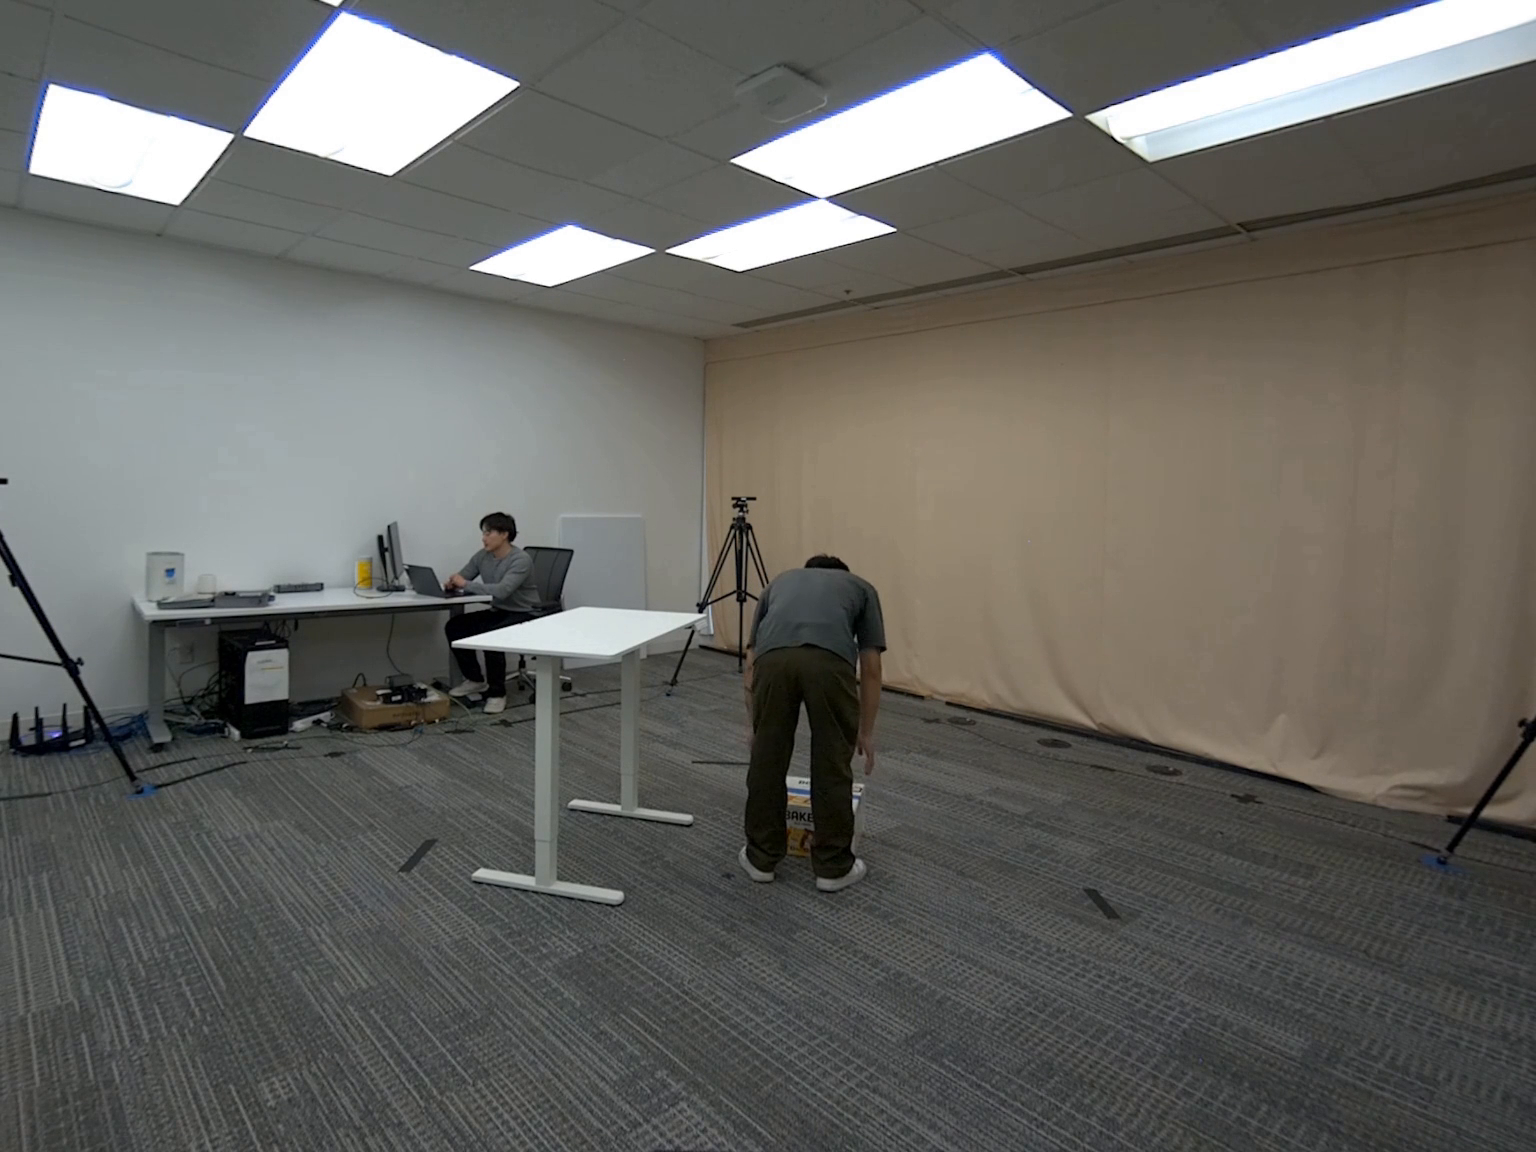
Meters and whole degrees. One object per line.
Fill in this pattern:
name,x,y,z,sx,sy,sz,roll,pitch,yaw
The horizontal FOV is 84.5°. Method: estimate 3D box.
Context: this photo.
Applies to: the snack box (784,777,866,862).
snack box,0.168,0.986,3.441,0.410,0.205,0.337,3,5,14
